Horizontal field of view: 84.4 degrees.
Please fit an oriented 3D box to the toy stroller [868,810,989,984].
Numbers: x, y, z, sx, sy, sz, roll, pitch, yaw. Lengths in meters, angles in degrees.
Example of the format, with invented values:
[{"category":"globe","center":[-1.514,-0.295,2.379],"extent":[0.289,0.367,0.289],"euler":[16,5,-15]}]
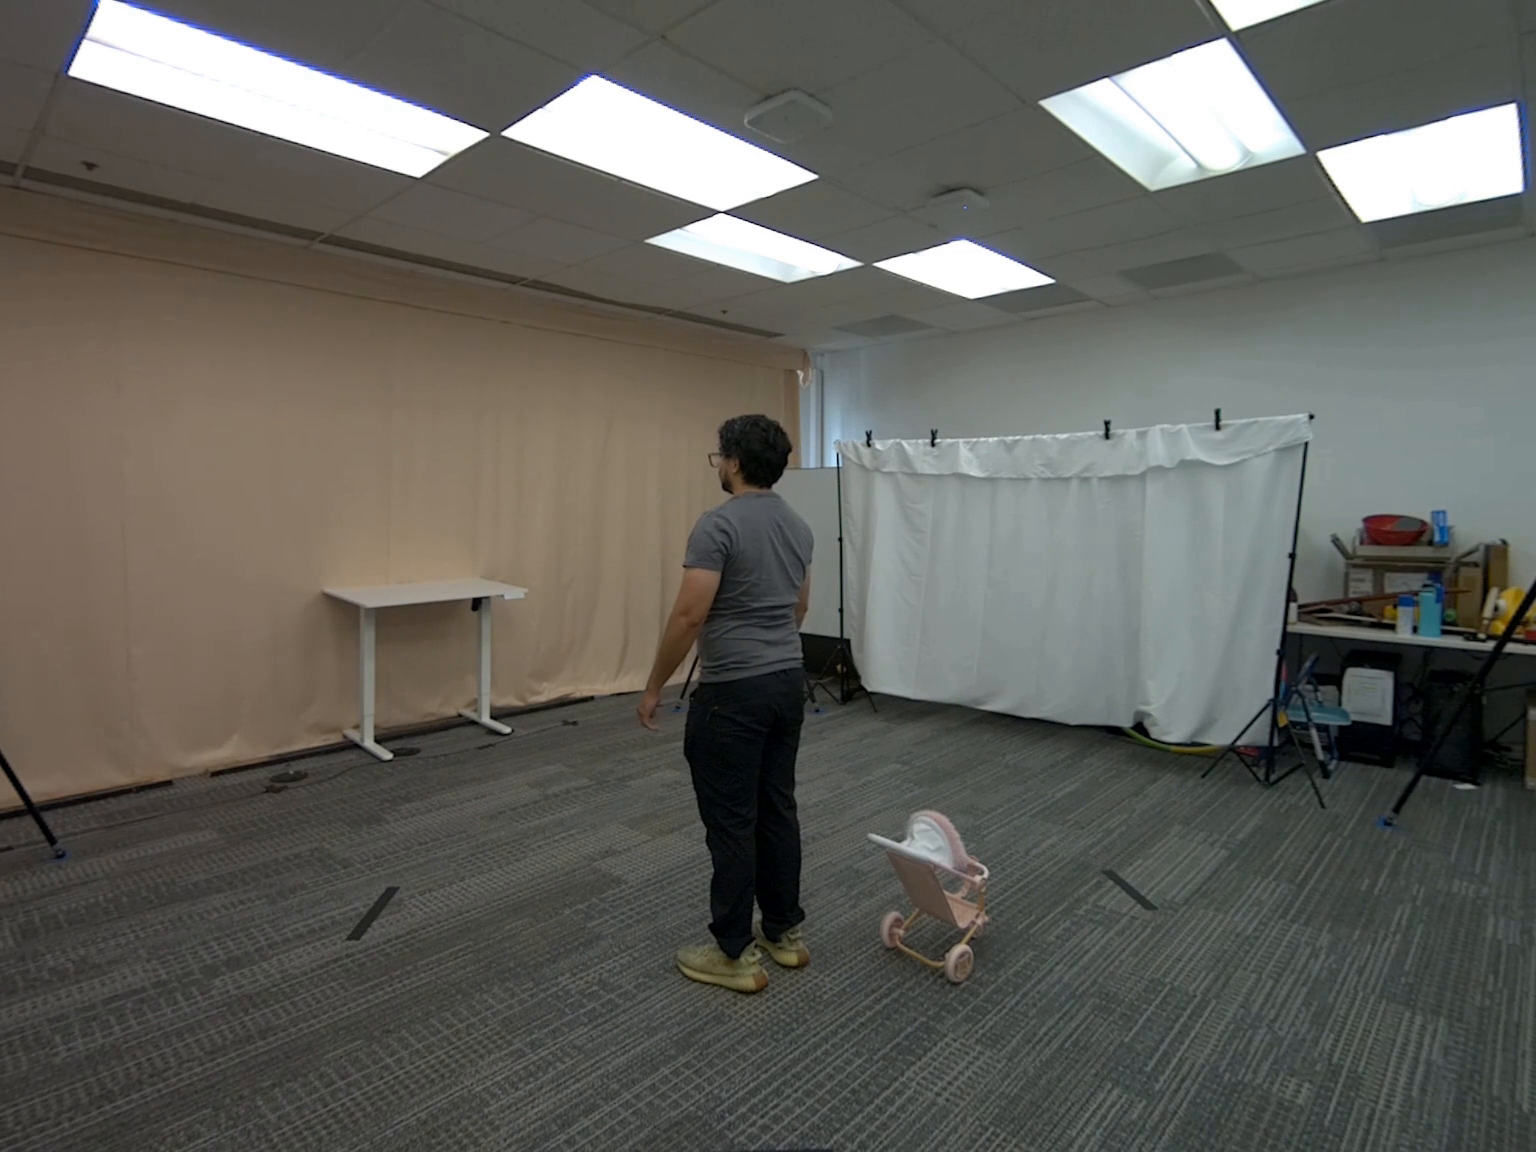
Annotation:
[{"category":"toy stroller","center":[0.528,0.956,2.575],"extent":[0.334,0.529,0.290],"euler":[-23,16,-33]}]
